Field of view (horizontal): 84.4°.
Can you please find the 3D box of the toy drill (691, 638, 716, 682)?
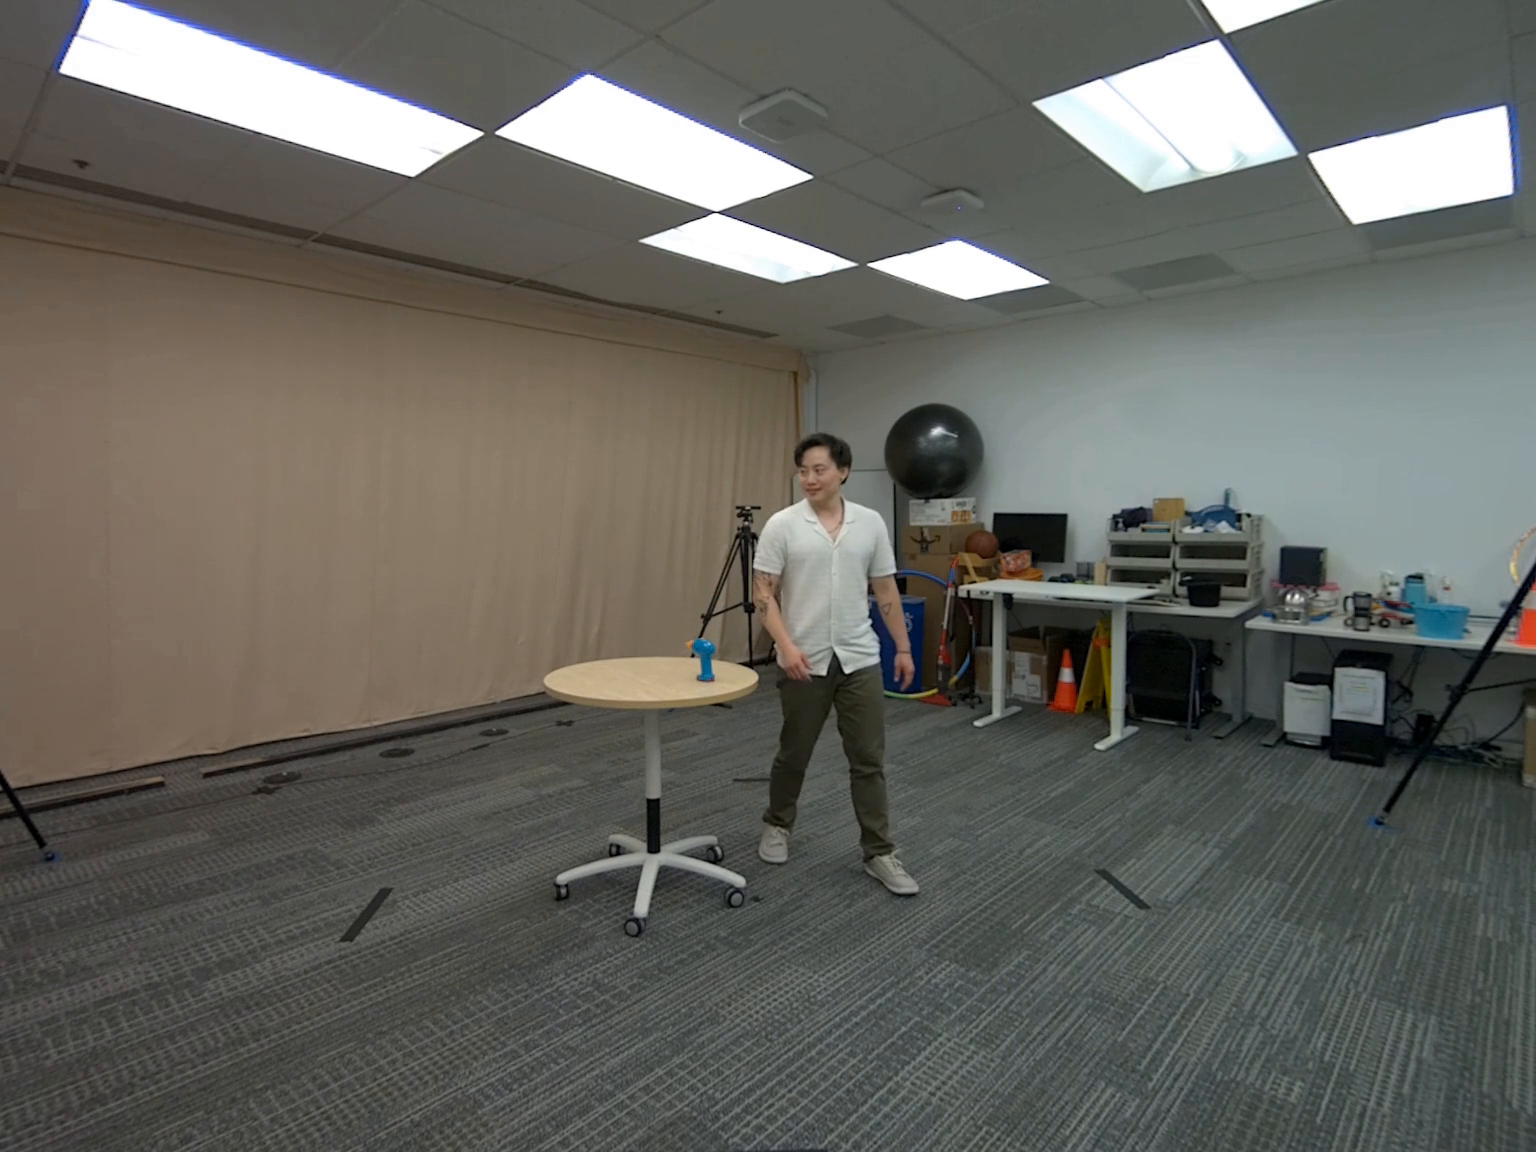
[{"bbox_3d":[-0.238,0.291,2.978,0.059,0.145,0.175,-5,7,-37],"label":"toy drill"}]
